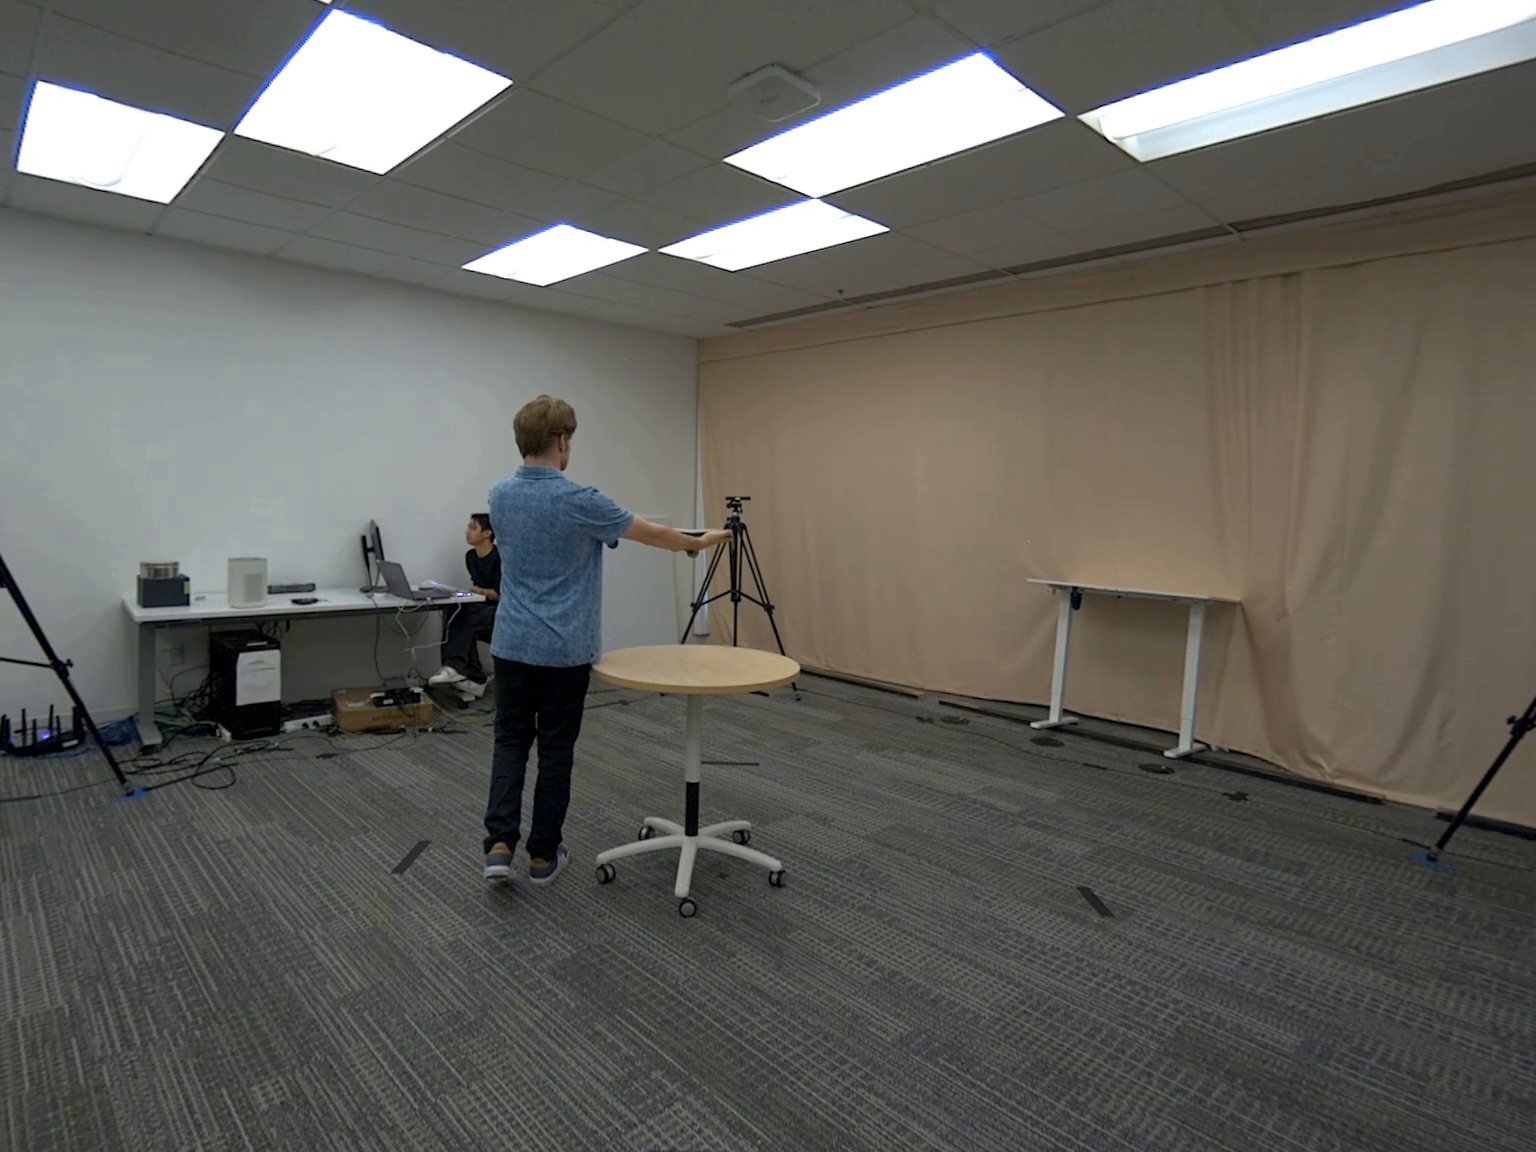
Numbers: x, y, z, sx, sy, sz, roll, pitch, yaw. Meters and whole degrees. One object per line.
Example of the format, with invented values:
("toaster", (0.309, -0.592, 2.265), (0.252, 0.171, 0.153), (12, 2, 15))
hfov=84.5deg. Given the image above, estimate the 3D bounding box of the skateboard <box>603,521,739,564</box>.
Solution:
("skateboard", (-0.523, -0.159, 3.483), (0.802, 0.111, 0.189), (6, -7, 26))
